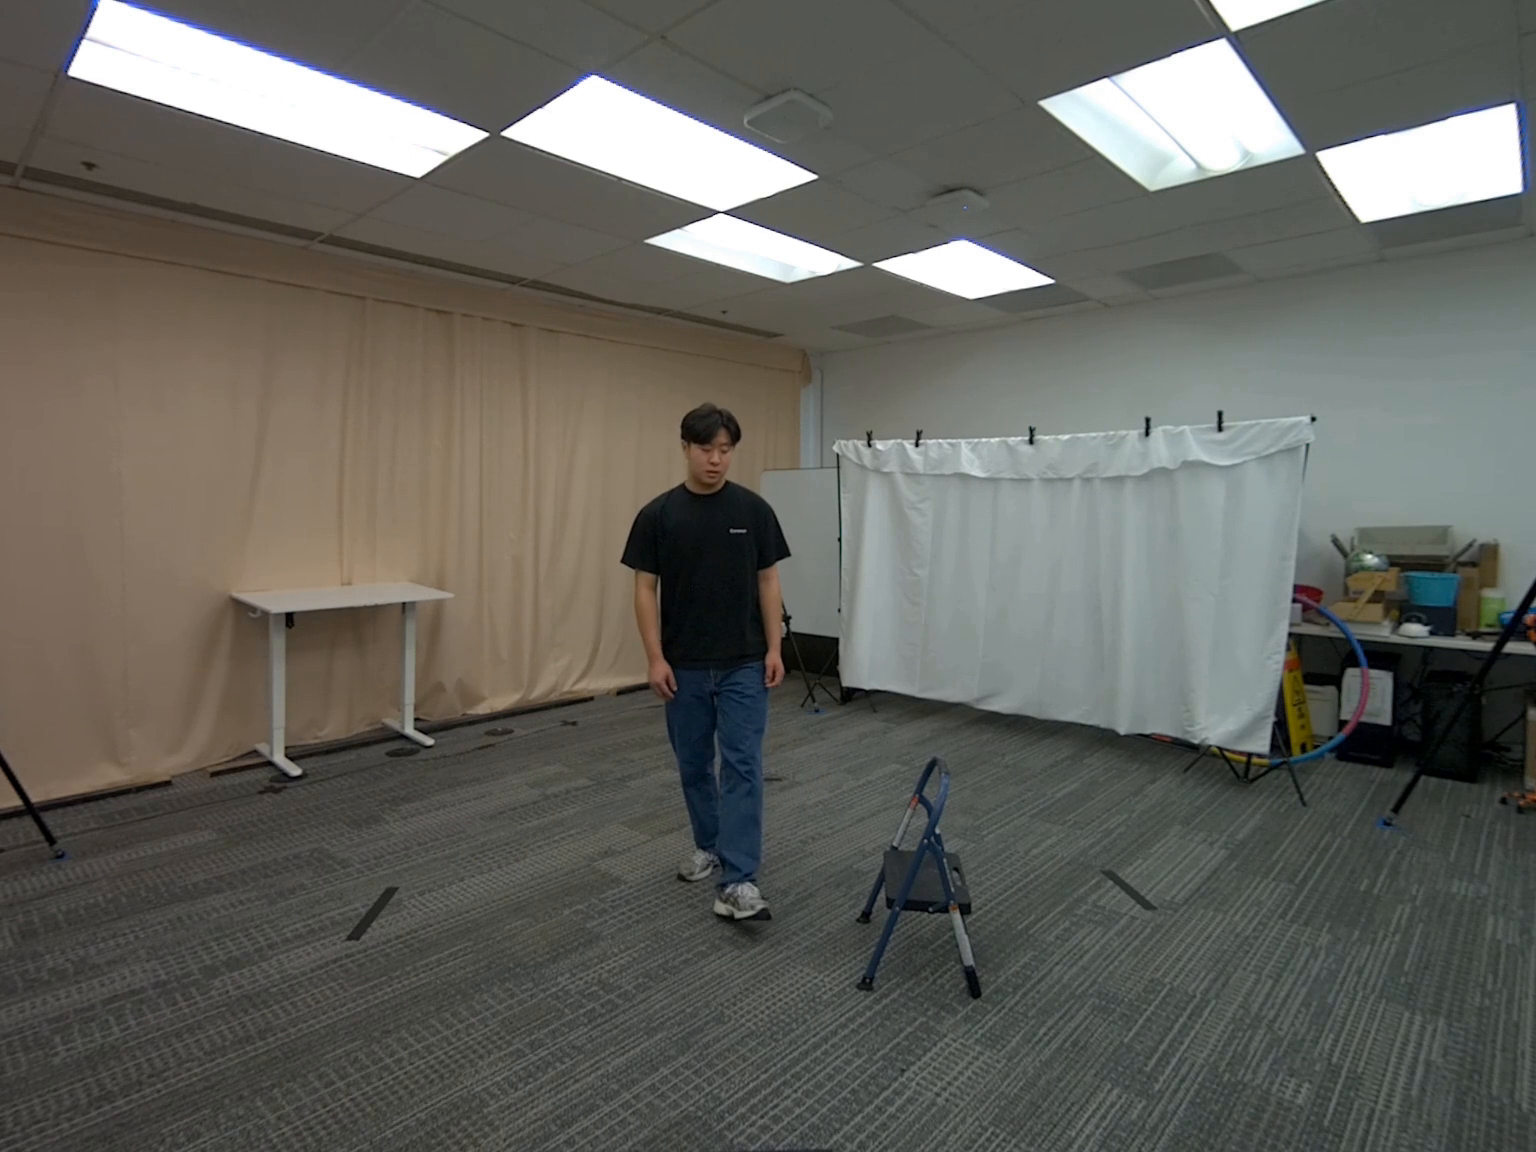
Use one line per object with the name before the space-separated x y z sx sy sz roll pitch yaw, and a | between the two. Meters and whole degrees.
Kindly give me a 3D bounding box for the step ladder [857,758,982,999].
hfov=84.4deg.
step ladder | 0.461 0.876 2.583 0.352 0.605 0.428 0 4 7
